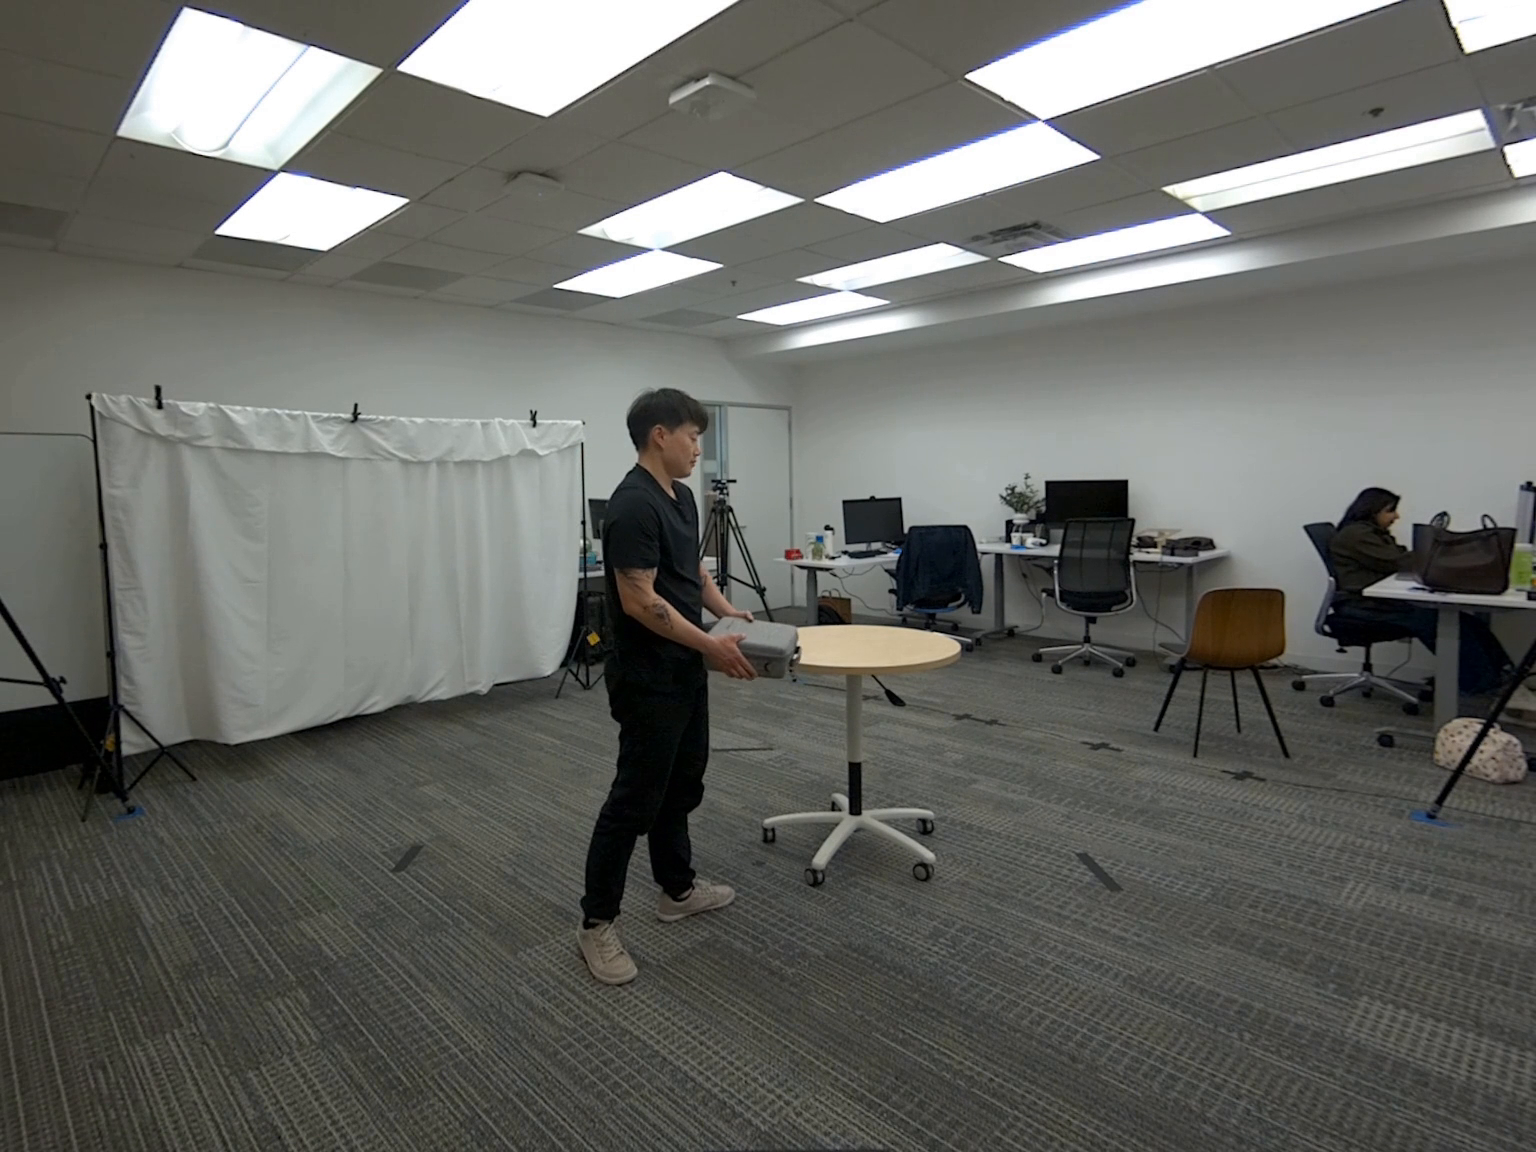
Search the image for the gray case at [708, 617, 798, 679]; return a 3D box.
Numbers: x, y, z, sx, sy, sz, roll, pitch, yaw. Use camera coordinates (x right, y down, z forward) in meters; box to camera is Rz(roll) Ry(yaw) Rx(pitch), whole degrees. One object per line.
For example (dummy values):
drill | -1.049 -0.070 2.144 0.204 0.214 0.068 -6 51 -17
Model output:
gray case | -0.051 0.212 2.540 0.264 0.103 0.256 4 10 10
